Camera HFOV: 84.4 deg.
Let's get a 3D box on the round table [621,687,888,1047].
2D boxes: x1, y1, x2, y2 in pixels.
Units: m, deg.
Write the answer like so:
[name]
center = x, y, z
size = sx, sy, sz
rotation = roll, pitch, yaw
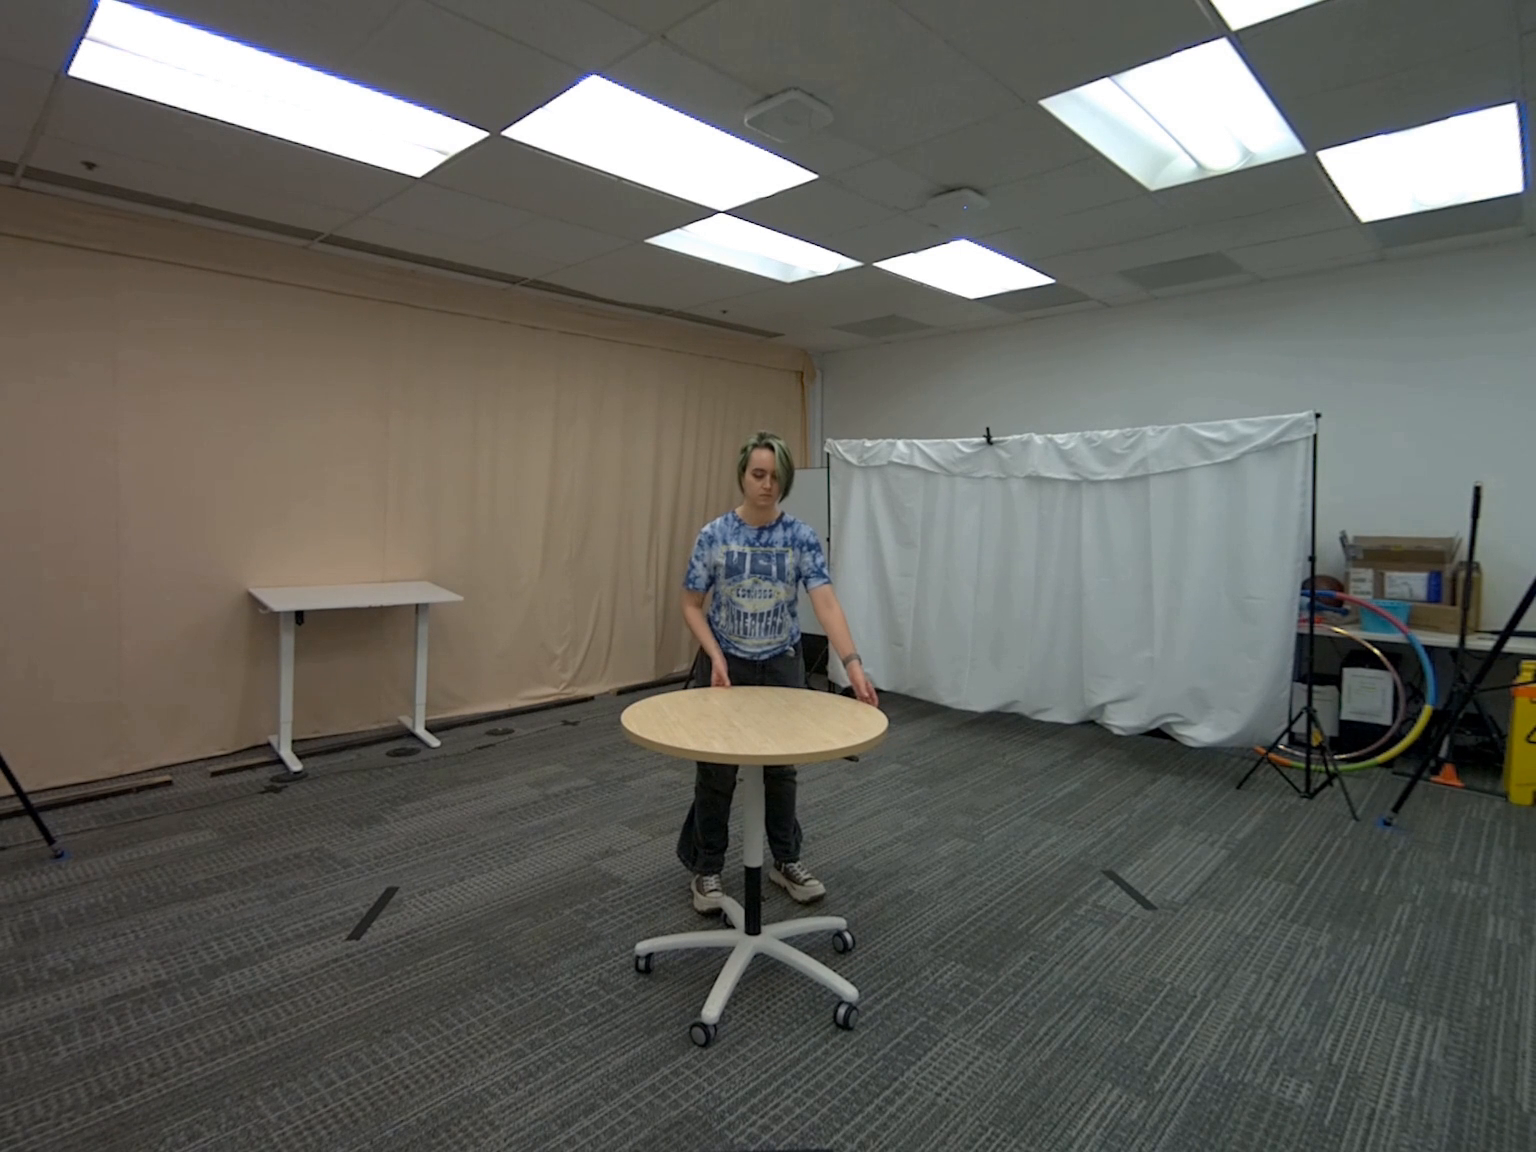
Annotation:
[round table]
center = -0.039, 0.798, 2.462
size = 0.763, 0.792, 0.767
rotation = 0, 4, -2
